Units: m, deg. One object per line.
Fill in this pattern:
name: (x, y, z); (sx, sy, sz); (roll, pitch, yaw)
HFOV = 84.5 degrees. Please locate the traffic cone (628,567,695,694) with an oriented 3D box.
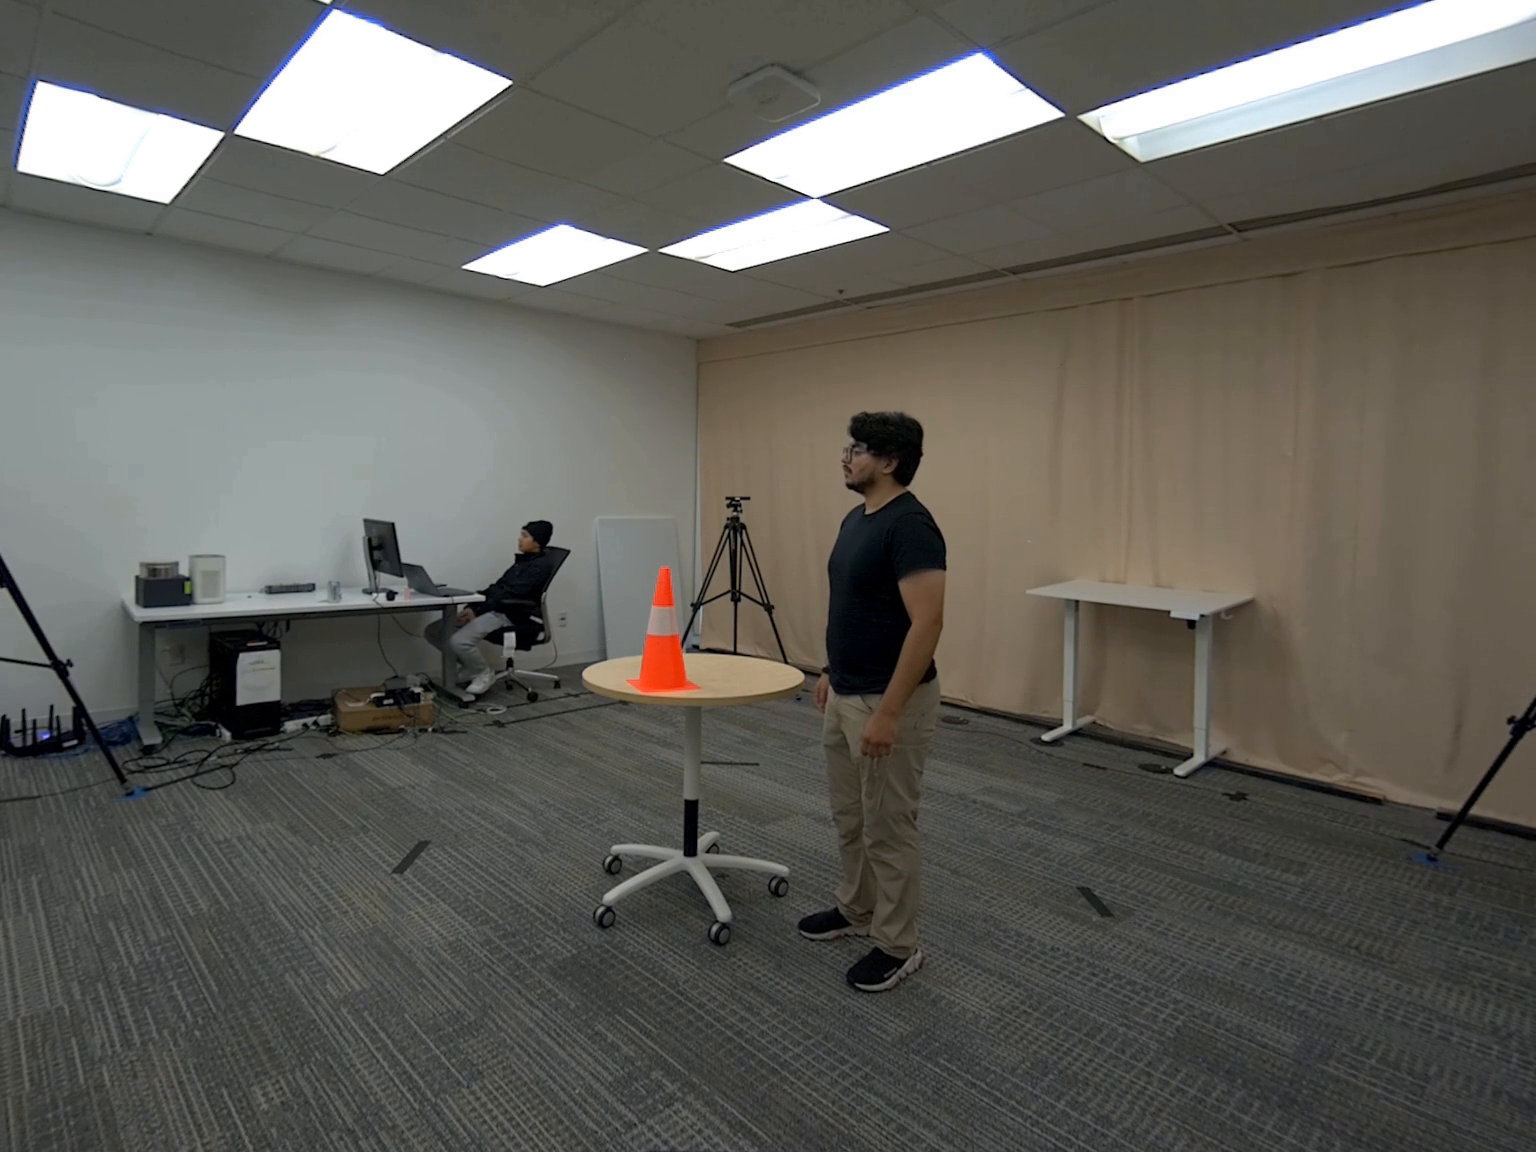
traffic cone: (-0.335, 0.166, 2.706); (0.200, 0.383, 0.208); (1, 2, -33)
